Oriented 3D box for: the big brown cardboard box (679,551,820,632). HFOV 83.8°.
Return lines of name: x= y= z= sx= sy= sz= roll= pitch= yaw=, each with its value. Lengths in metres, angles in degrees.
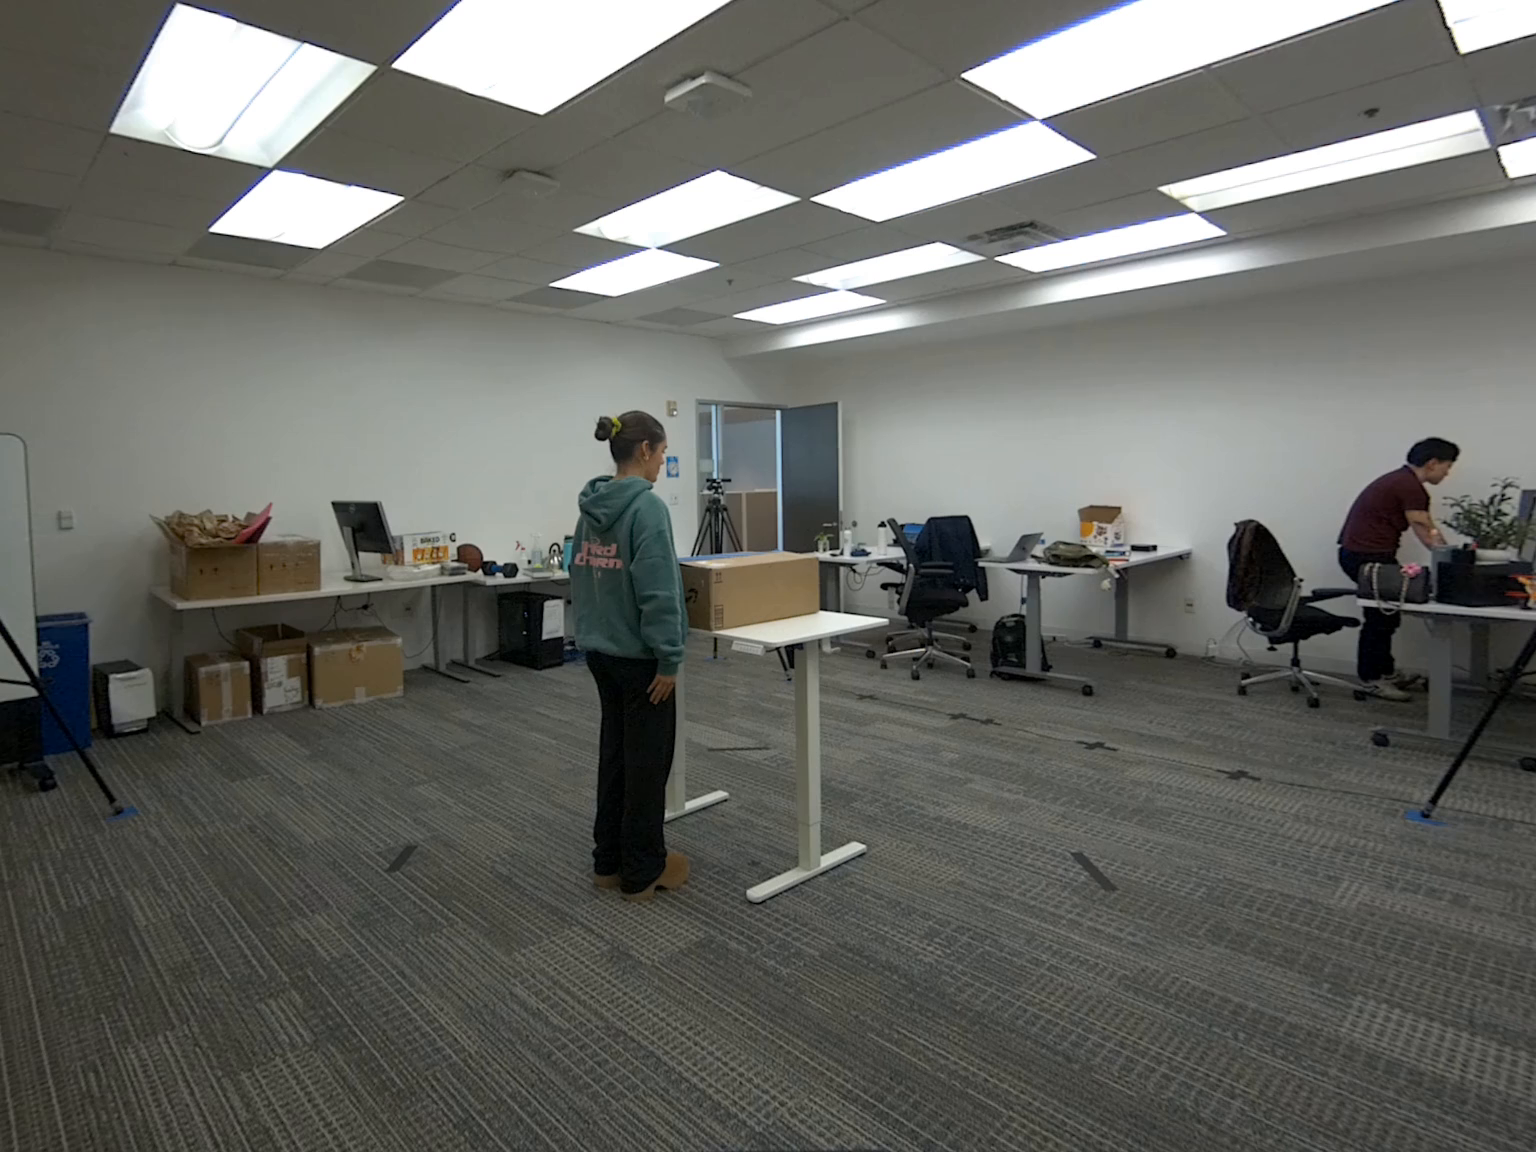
big brown cardboard box: x=-0.145 y=0.041 z=3.213 sx=0.430 sy=0.232 sz=0.573 roll=4 pitch=7 yaw=45
